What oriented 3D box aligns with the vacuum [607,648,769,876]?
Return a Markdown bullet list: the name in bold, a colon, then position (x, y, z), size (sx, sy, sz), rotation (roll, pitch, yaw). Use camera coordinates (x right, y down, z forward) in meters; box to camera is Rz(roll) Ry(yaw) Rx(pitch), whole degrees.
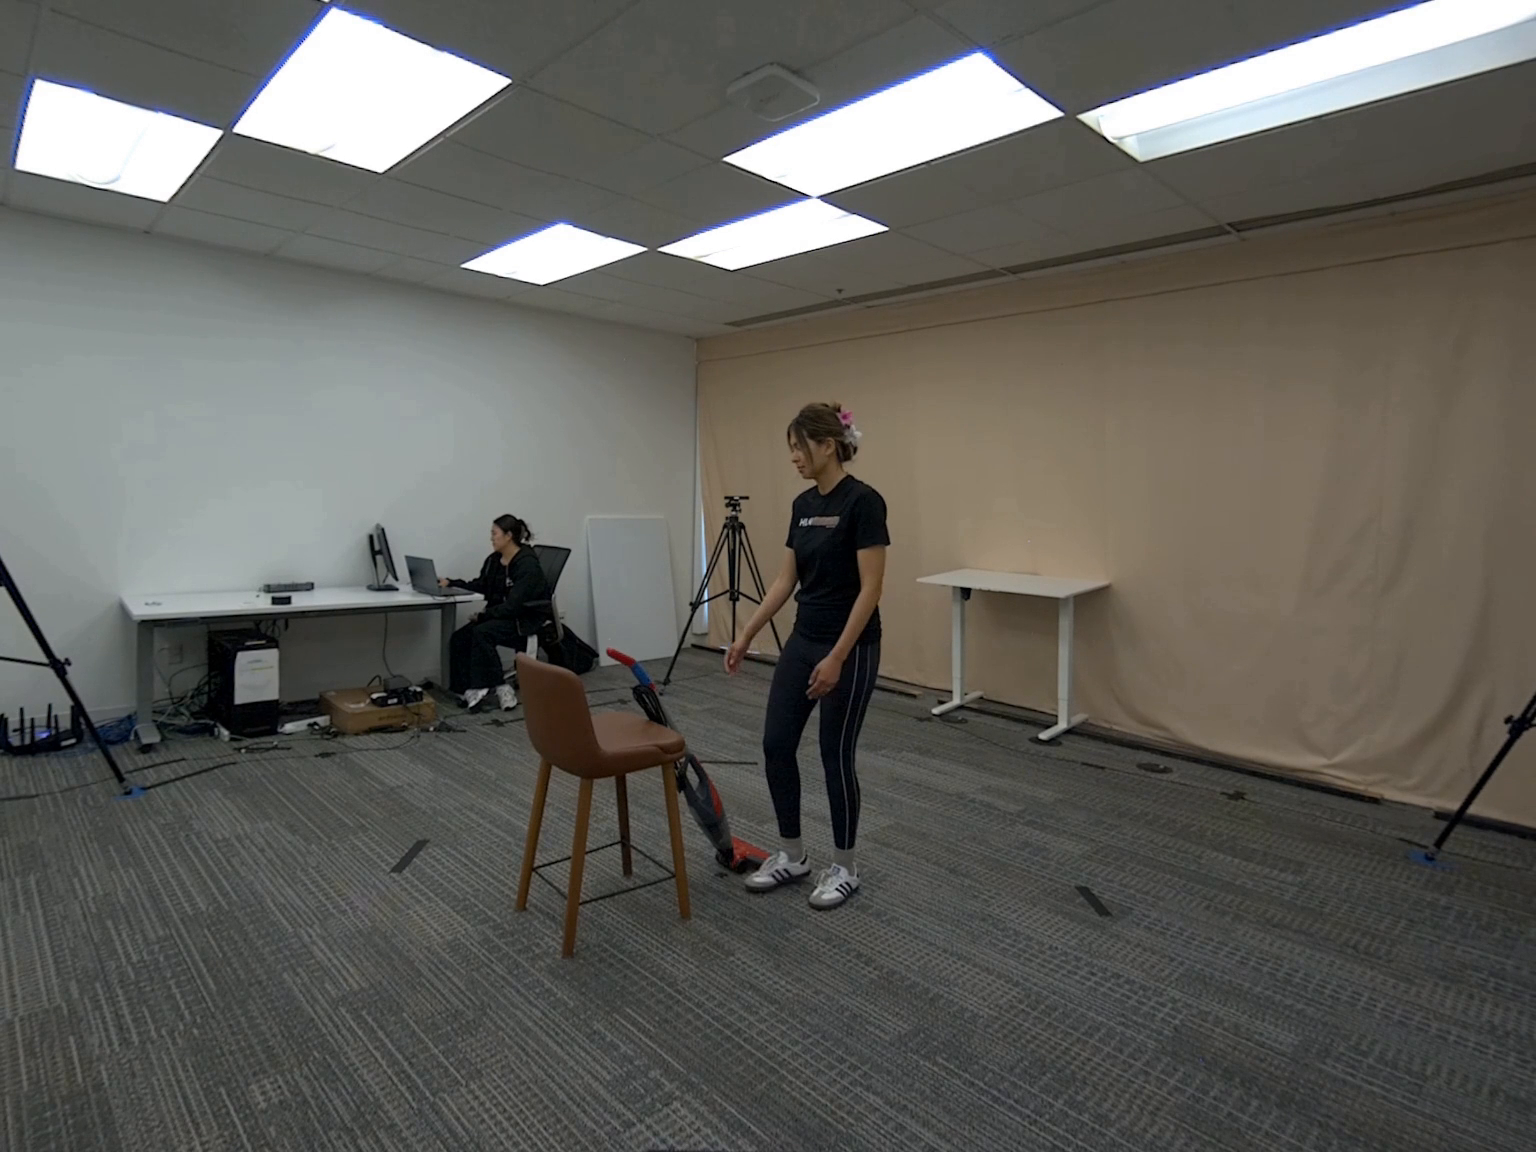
- **vacuum**: position (-0.313, 0.663, 2.997), size (0.259, 1.026, 0.144), rotation (3, 38, 48)
